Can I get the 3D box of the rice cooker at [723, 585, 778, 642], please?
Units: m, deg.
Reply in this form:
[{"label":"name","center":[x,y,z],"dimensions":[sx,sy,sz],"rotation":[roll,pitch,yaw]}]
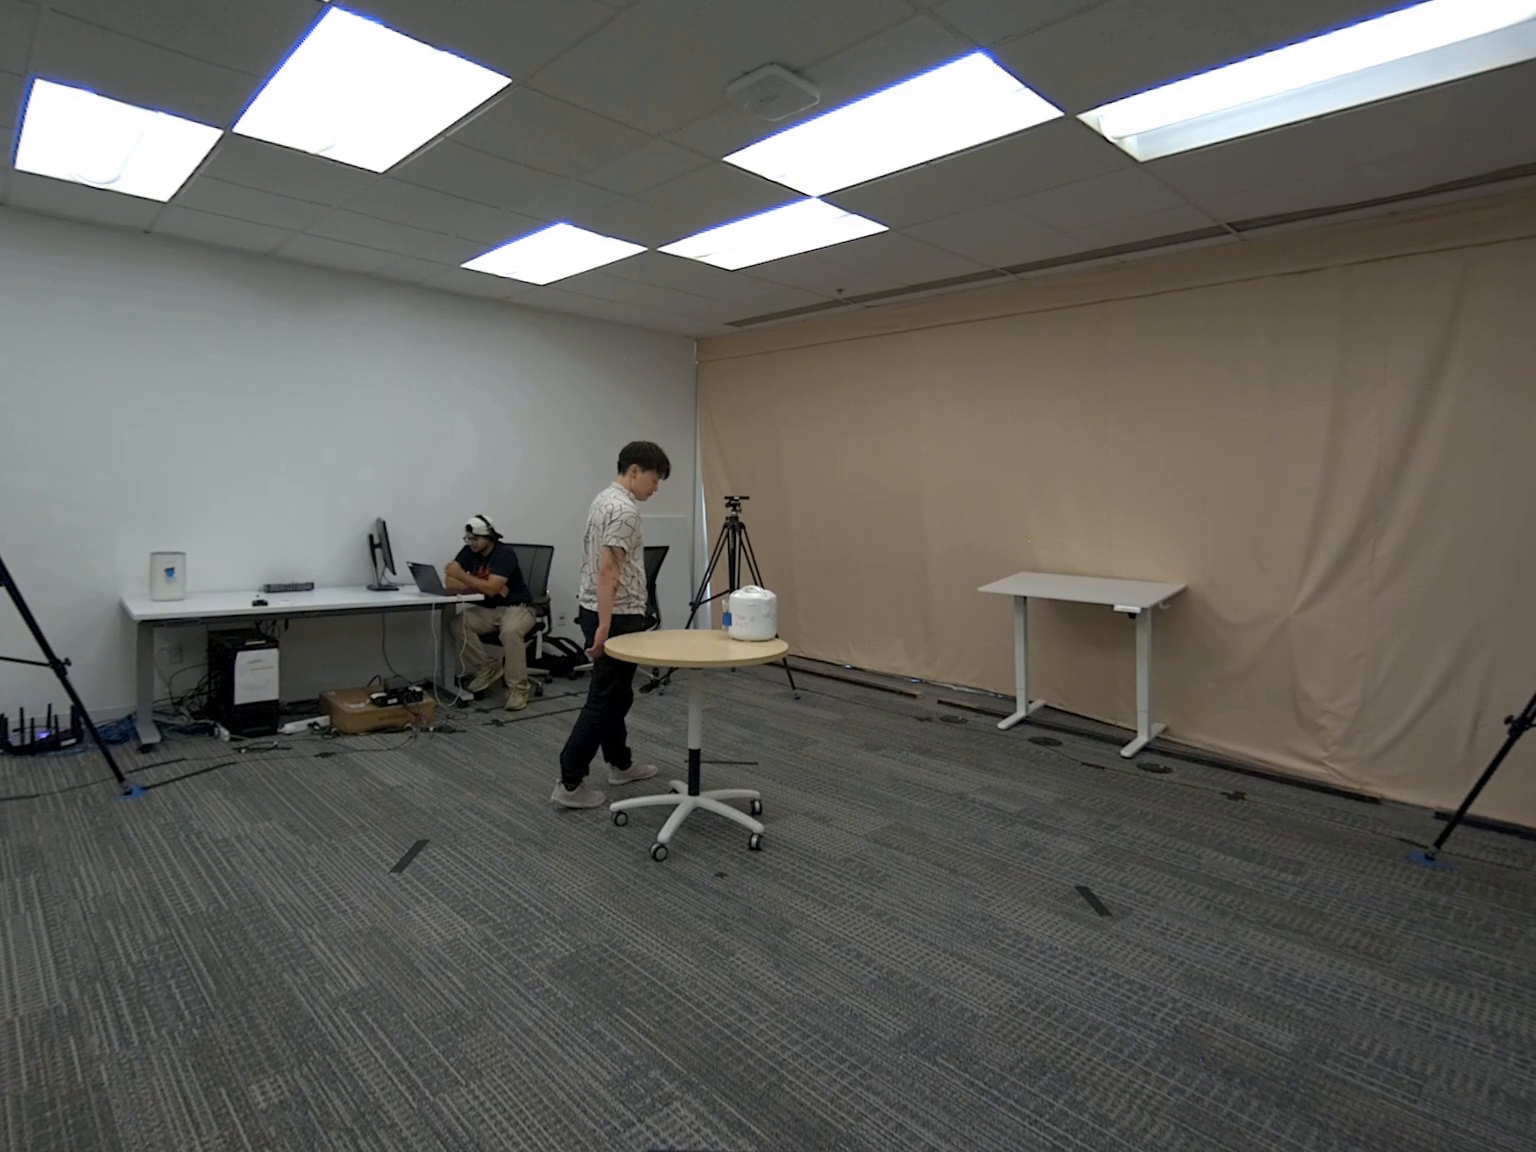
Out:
[{"label":"rice cooker","center":[-0.072,0.158,3.663],"dimensions":[0.213,0.232,0.226],"rotation":[-2,6,-35]}]
